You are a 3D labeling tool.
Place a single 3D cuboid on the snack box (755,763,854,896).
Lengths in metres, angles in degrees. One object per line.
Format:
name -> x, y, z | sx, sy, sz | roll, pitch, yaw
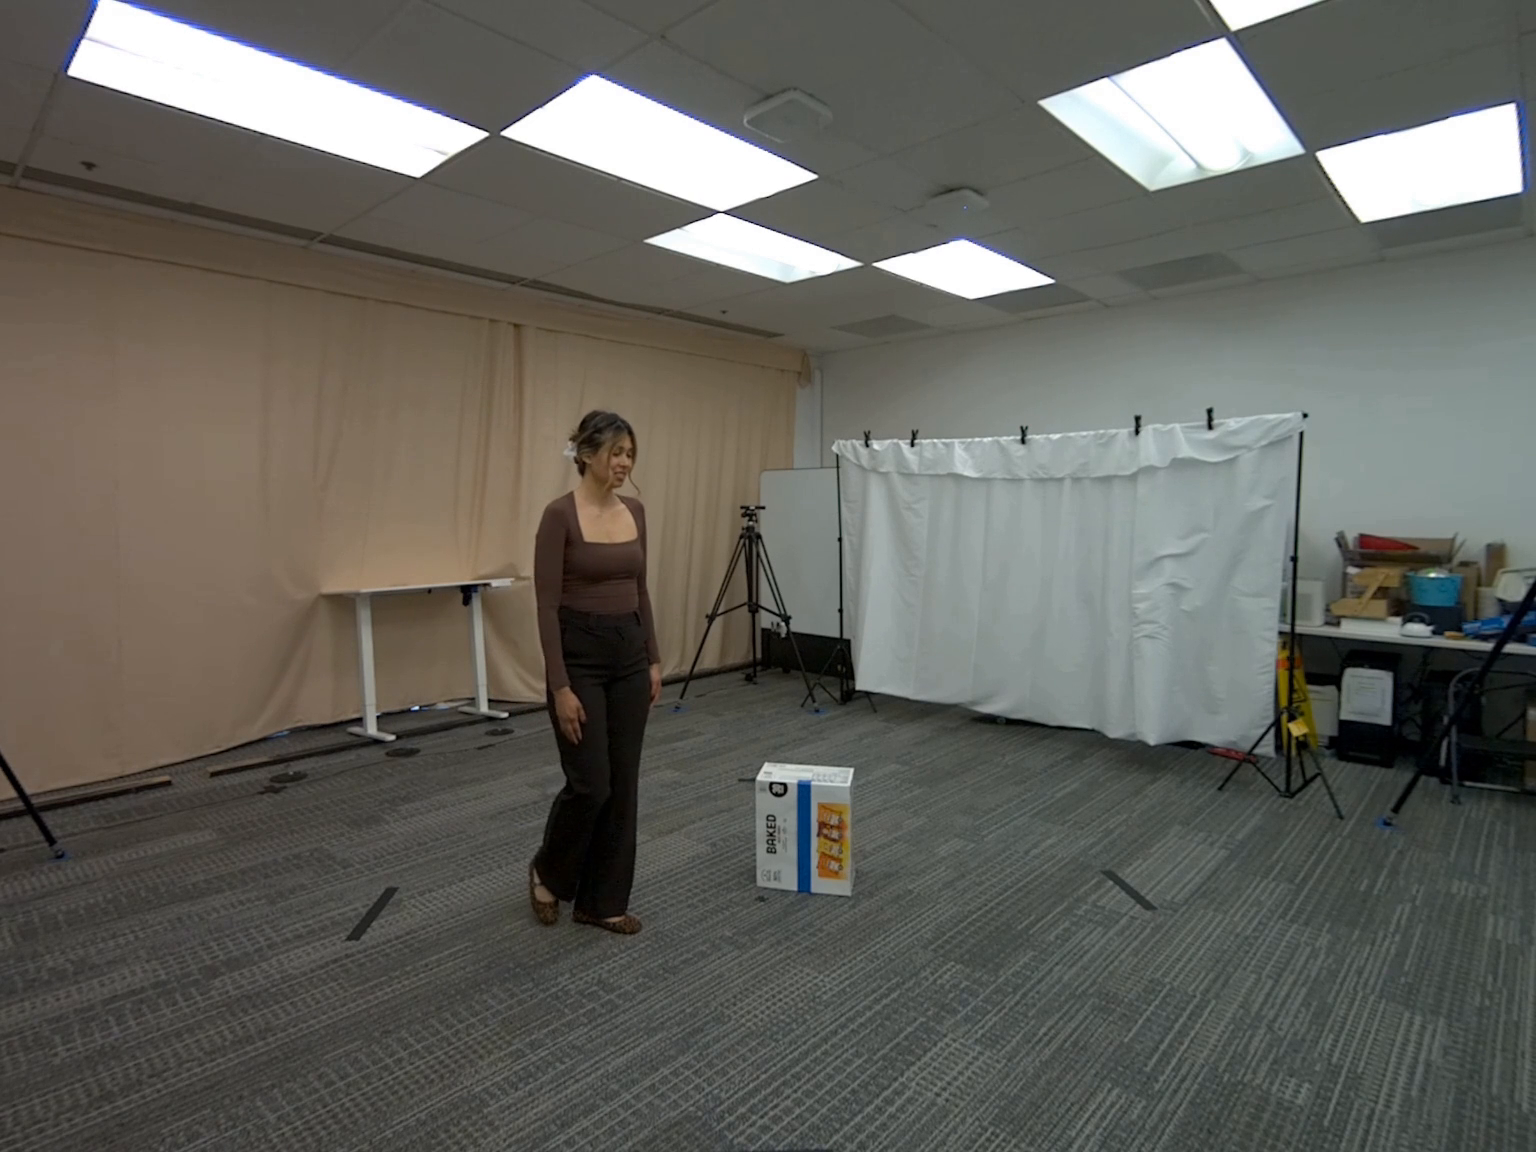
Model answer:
snack box -> 0.148, 0.928, 3.115 | 0.345, 0.404, 0.203 | 0, 4, 13
